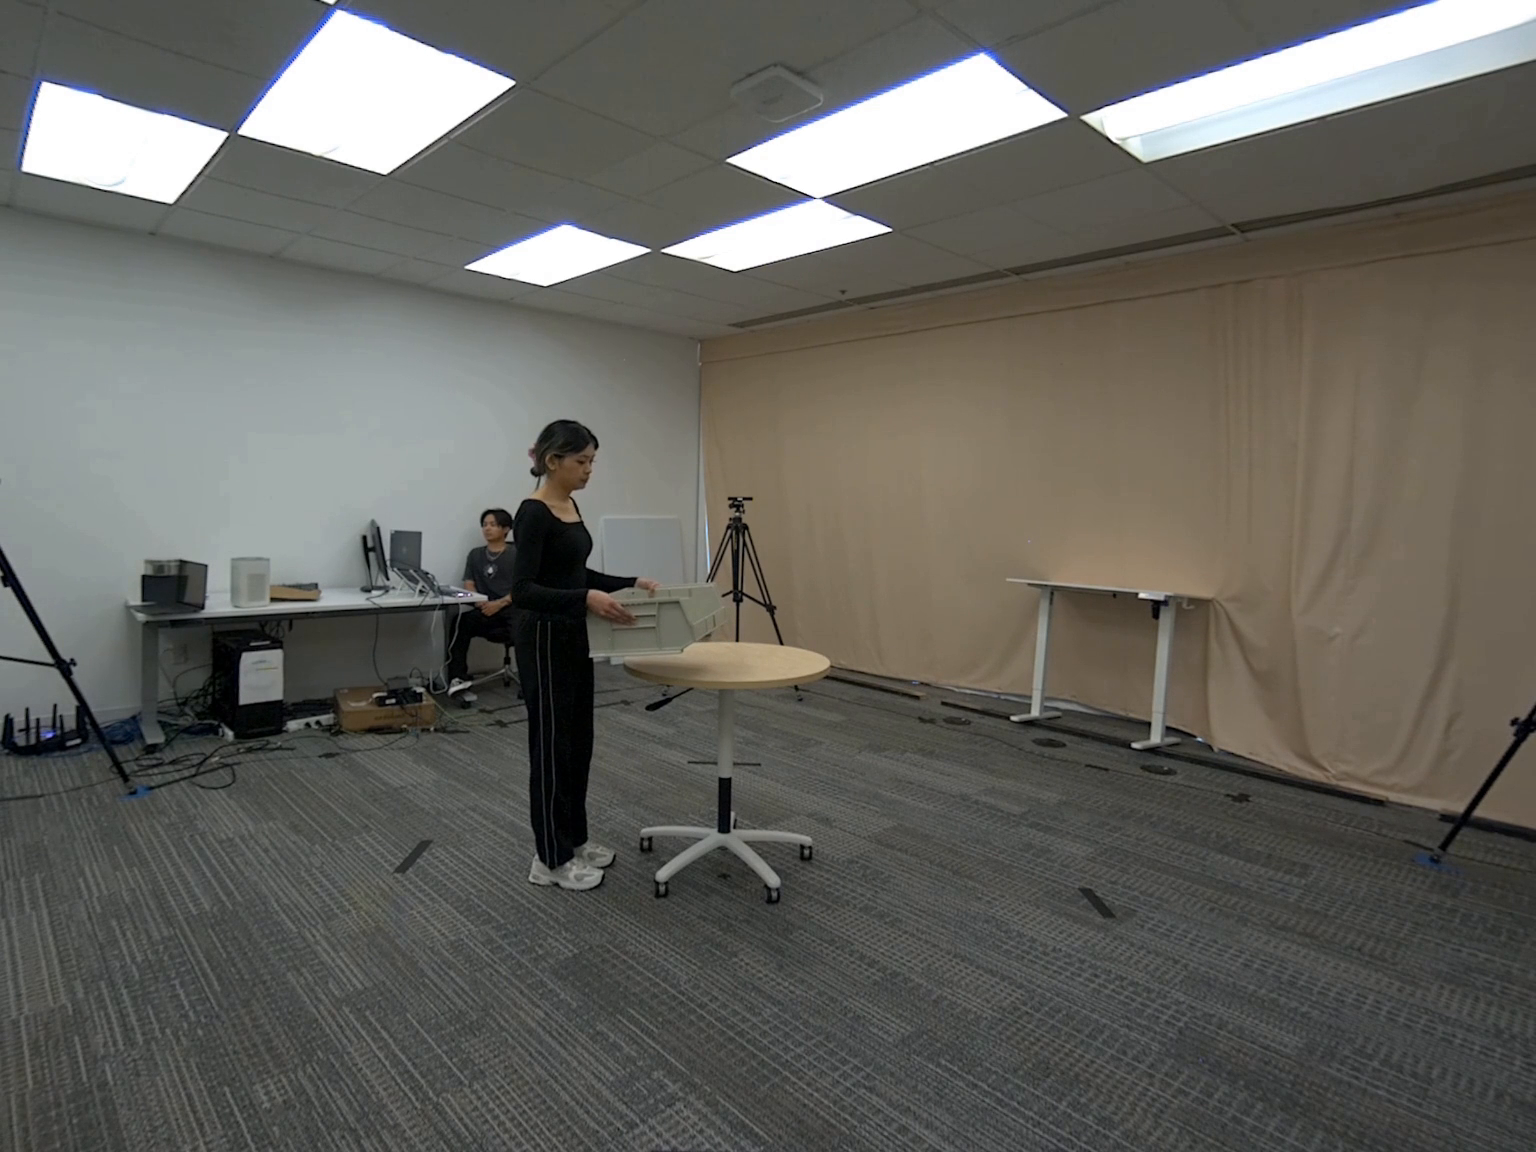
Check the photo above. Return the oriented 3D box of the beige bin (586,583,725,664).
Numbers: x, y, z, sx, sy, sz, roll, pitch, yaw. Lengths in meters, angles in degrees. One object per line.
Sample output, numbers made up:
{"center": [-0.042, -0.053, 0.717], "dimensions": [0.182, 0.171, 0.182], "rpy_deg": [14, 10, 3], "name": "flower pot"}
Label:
{"center": [-0.374, 0.153, 2.865], "dimensions": [0.381, 0.188, 0.421], "rpy_deg": [-5, 8, 13], "name": "beige bin"}
